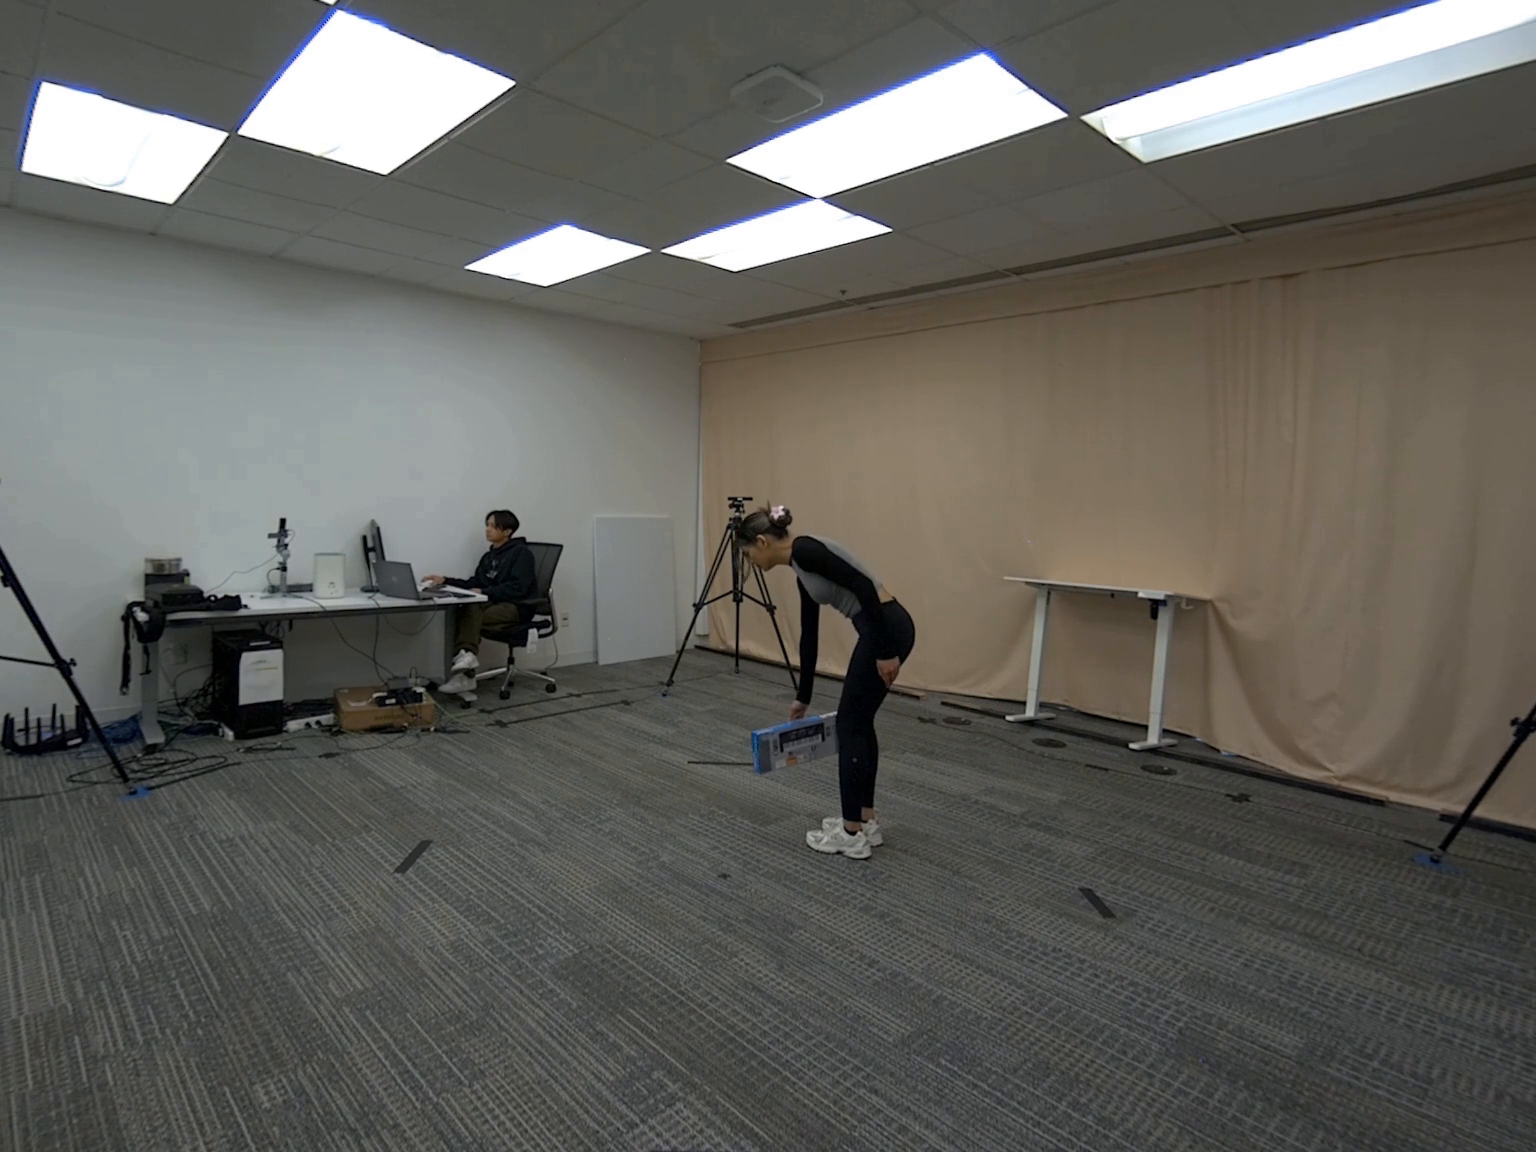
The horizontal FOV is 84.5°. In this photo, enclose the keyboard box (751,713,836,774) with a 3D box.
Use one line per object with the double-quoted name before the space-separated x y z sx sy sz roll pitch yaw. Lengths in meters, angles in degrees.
"keyboard box" 0.131 0.719 3.641 0.429 0.175 0.060 -8 7 -27
